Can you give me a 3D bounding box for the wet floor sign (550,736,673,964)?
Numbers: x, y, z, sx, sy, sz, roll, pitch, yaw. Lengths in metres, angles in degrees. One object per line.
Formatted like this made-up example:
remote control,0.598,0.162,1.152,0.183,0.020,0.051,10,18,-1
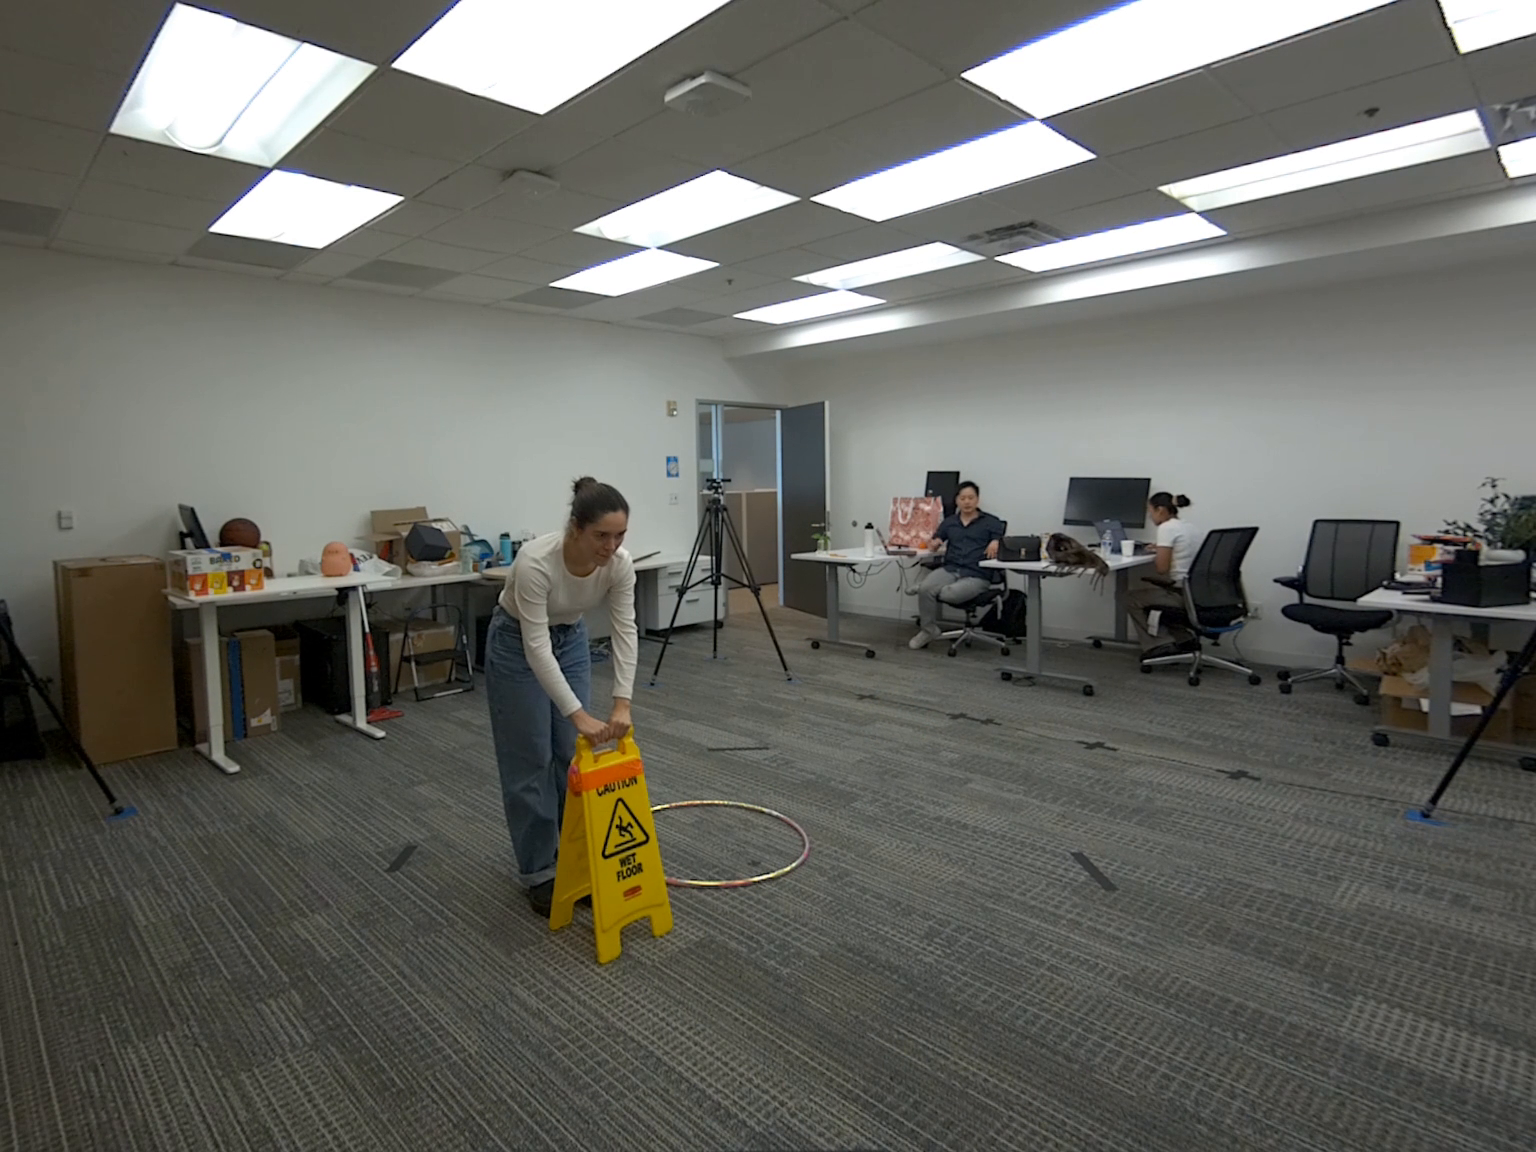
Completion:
wet floor sign,-0.491,0.779,2.645,0.275,0.643,0.299,-6,7,-44
